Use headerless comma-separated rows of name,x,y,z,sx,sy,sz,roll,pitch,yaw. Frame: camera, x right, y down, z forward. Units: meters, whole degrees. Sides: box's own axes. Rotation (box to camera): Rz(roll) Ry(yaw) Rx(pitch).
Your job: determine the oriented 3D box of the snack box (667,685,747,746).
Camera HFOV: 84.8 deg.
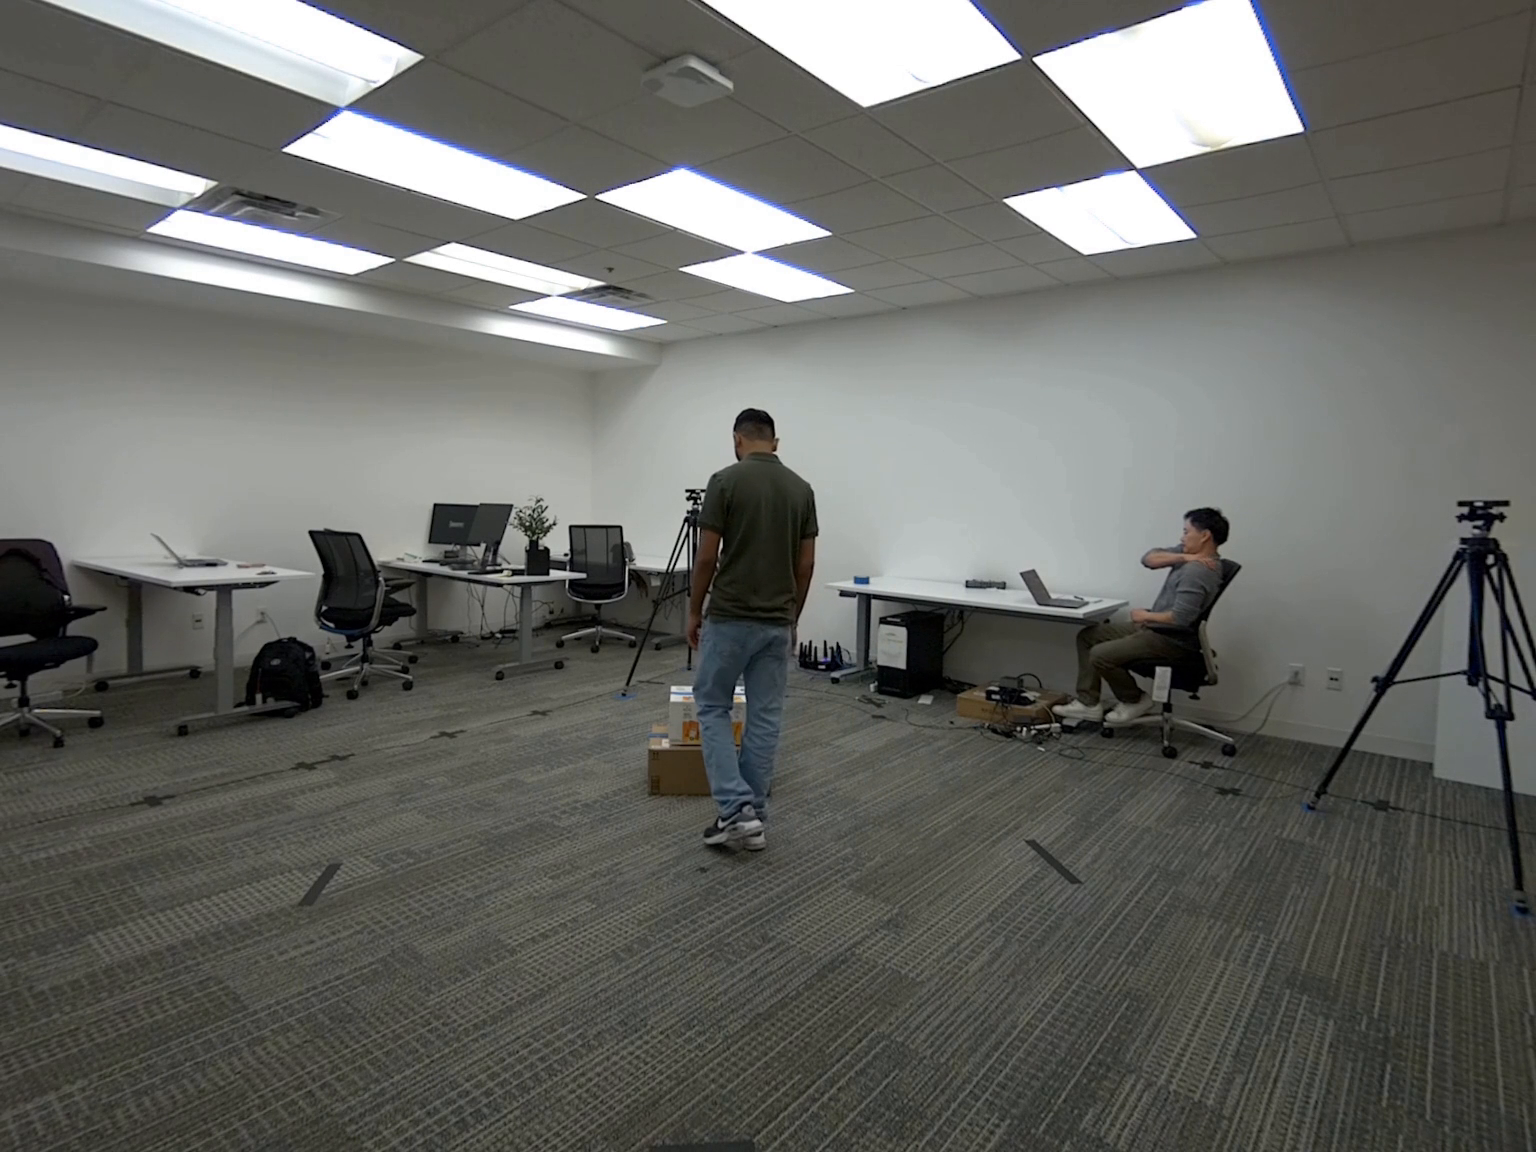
snack box,-0.280,0.659,4.081,0.404,0.205,0.343,1,4,-4
